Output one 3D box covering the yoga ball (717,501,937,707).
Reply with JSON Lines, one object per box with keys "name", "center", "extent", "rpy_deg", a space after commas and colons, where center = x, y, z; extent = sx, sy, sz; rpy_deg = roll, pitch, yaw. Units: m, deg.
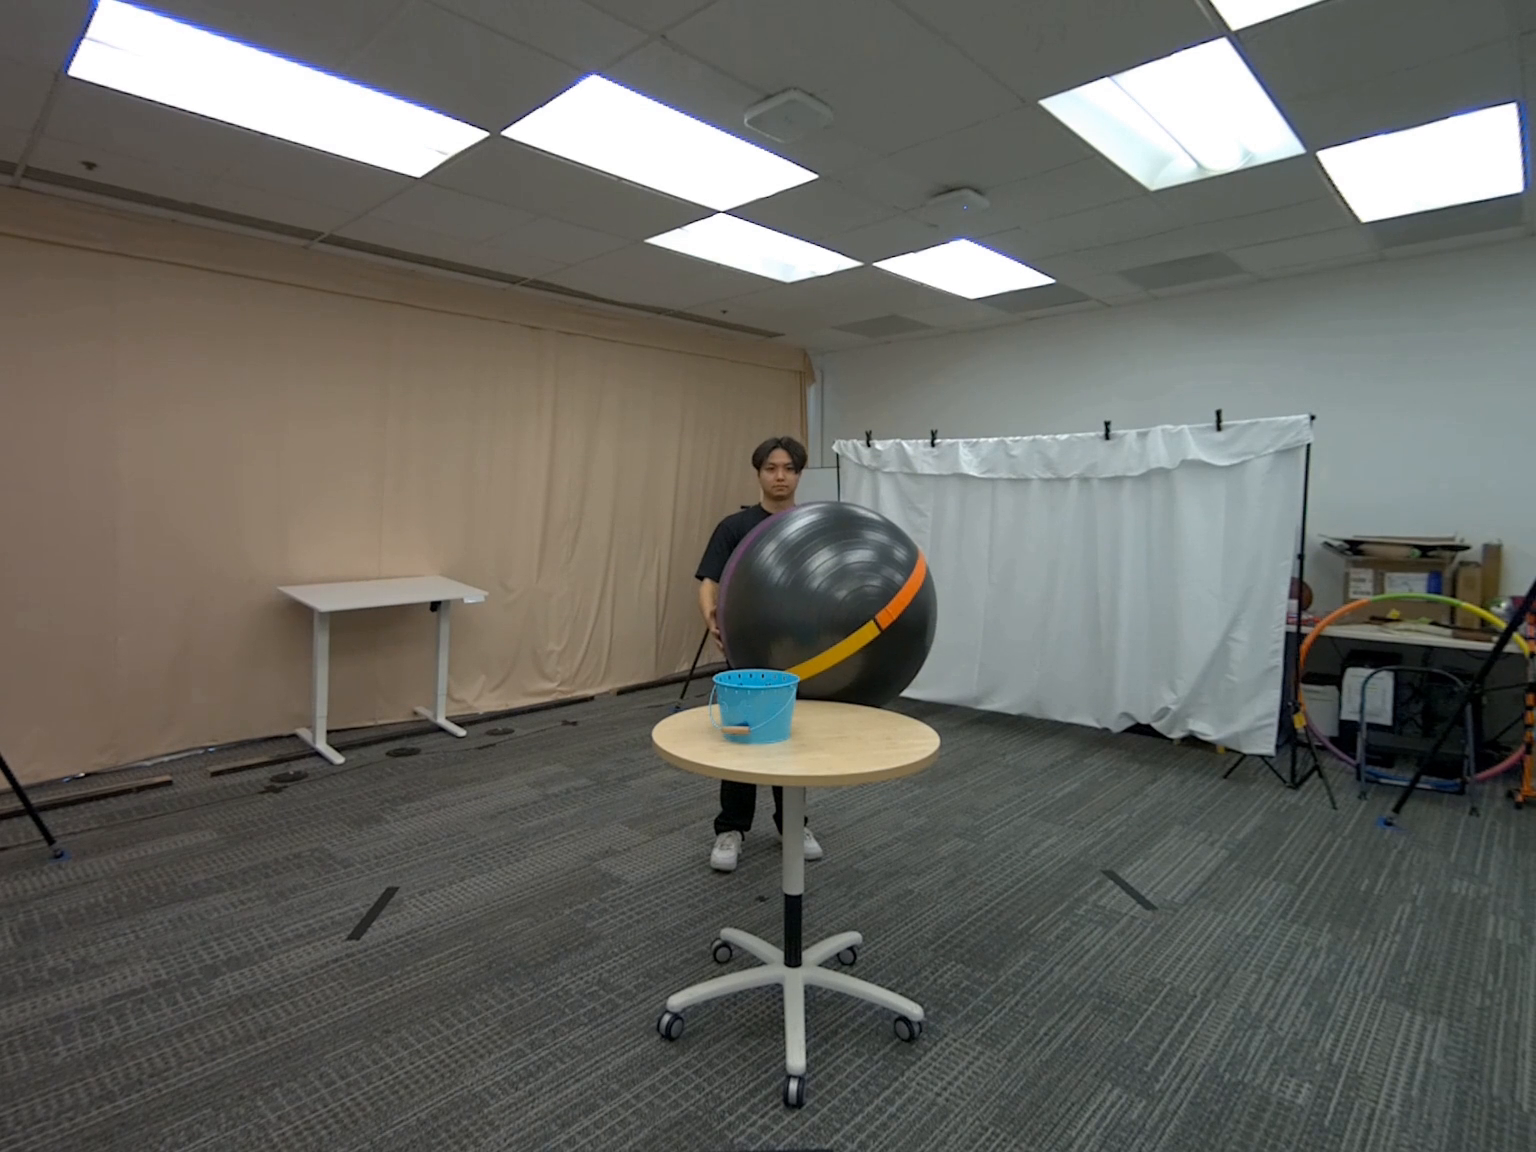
{"name": "yoga ball", "center": [0.206, 0.125, 2.912], "extent": [0.757, 0.756, 0.760], "rpy_deg": [0, 4, -2]}
